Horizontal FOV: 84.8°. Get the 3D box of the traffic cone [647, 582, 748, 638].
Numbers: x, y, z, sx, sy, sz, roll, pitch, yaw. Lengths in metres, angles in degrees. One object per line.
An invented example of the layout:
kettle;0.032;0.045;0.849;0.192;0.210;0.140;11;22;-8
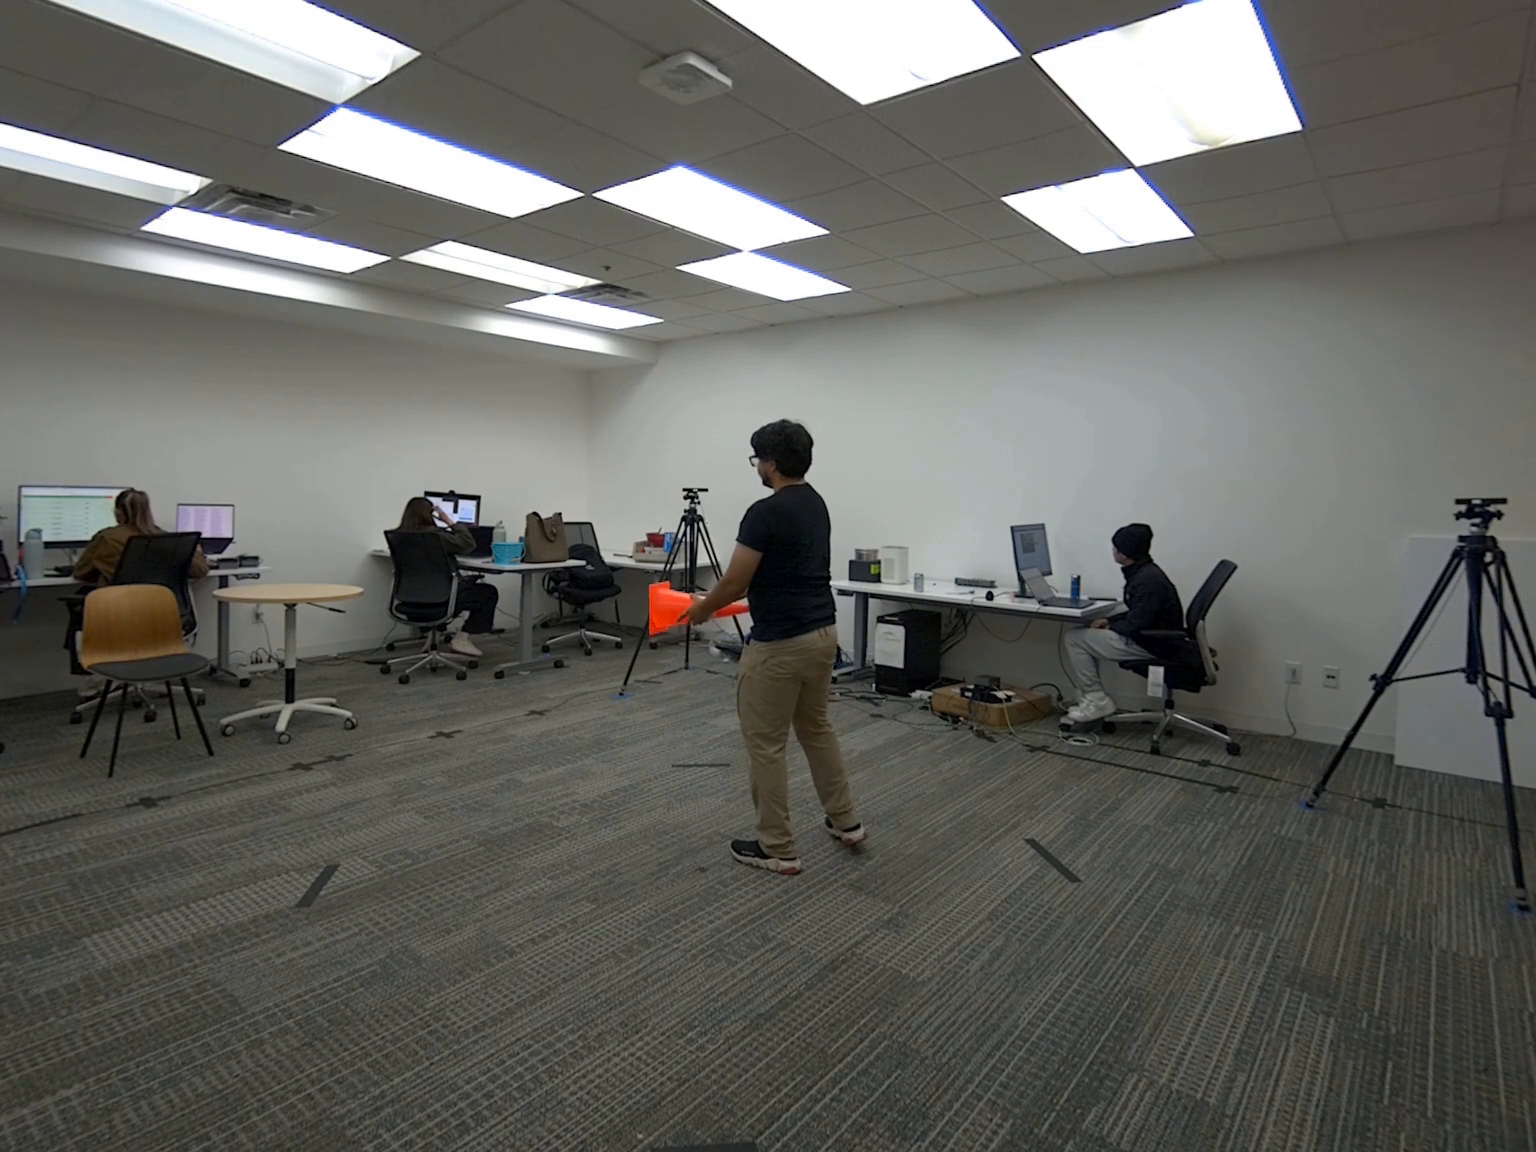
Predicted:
traffic cone;-0.264;0.128;3.376;0.391;0.203;0.201;1;3;18
